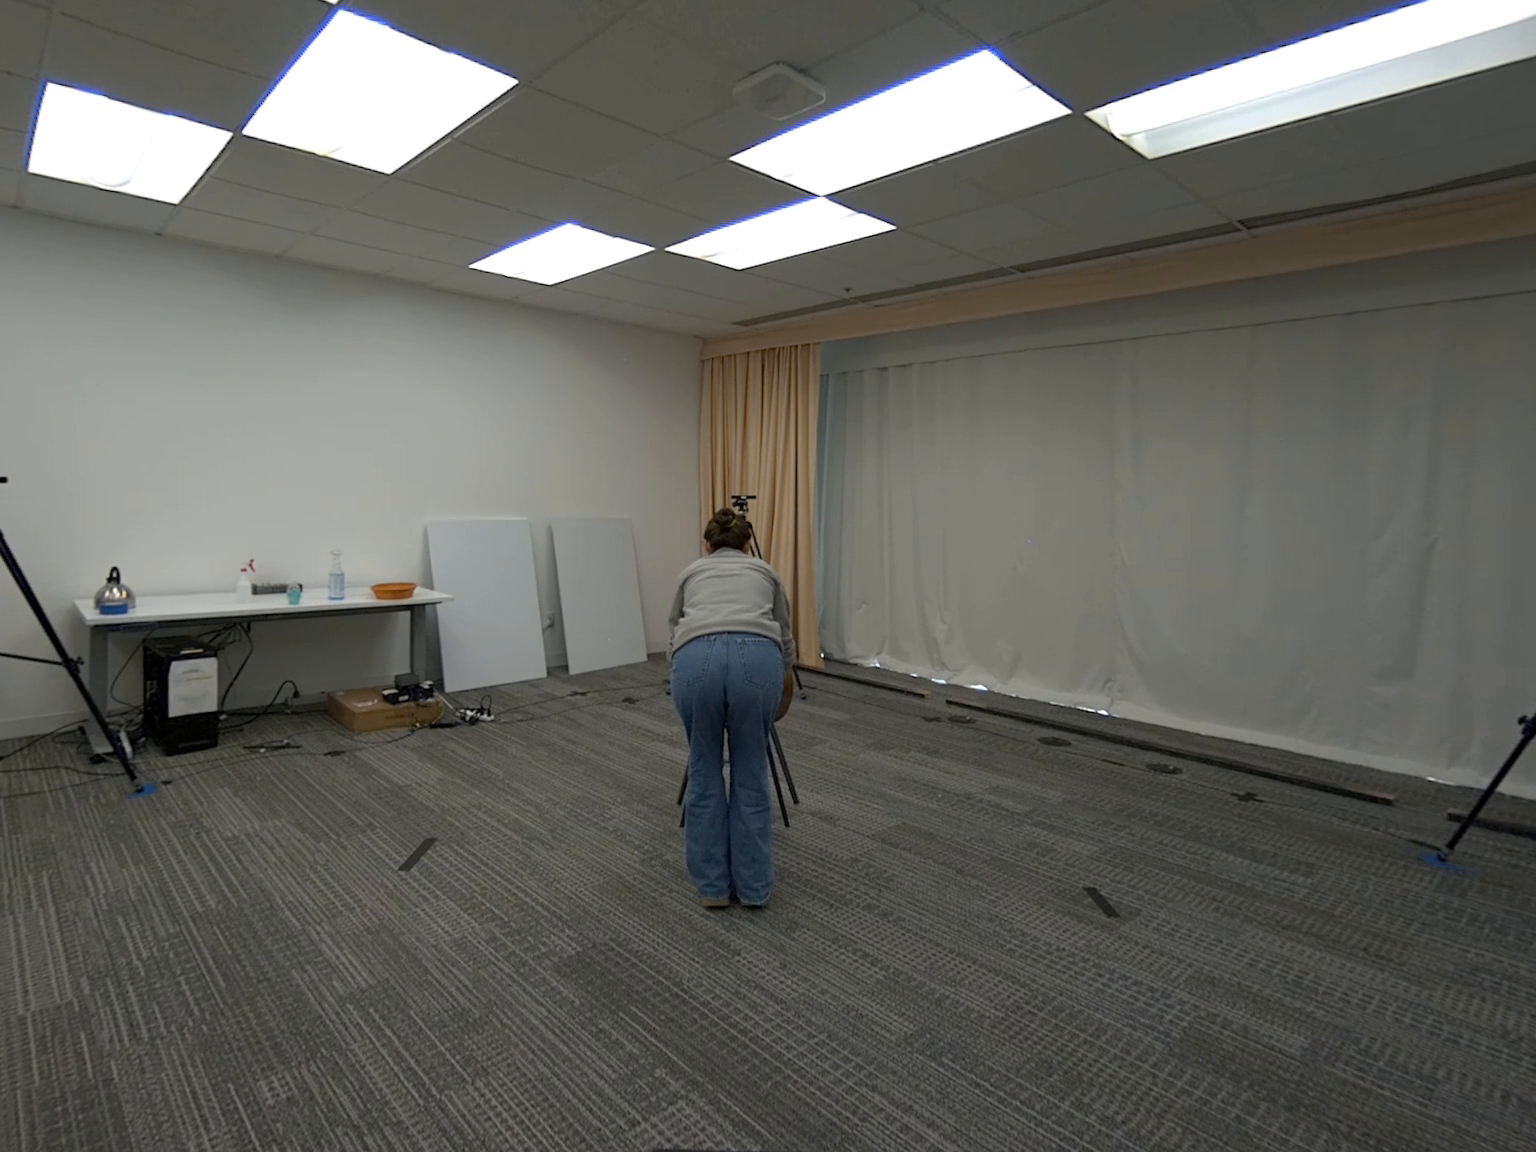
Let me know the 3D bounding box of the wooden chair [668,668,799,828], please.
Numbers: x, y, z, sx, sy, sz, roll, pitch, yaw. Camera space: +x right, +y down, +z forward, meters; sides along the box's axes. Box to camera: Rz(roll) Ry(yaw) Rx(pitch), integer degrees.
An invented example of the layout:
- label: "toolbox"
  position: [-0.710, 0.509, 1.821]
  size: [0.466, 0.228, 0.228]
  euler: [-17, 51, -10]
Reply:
- label: "wooden chair"
  position: [-0.143, 0.555, 3.466]
  size: [0.478, 0.892, 0.515]
  euler: [-1, -23, -2]
